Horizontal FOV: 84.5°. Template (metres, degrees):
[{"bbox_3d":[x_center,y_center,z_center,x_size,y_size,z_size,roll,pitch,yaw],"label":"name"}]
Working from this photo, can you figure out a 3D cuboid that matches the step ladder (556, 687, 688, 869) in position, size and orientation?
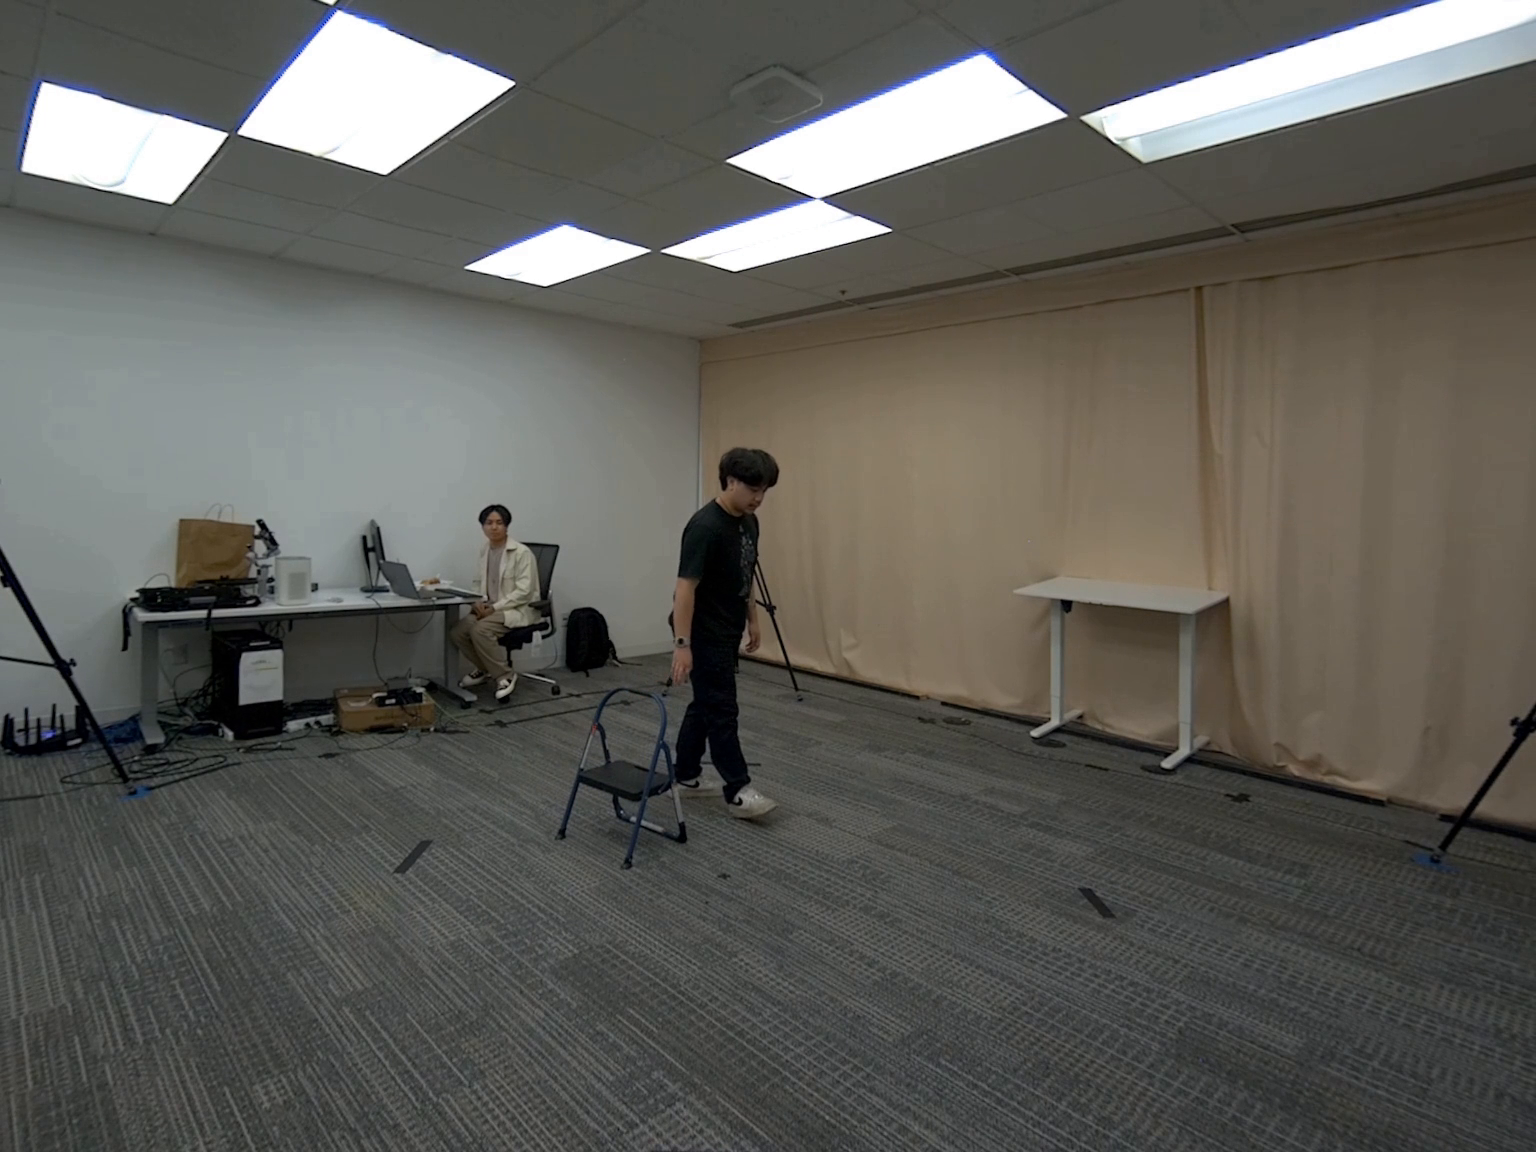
[{"bbox_3d":[-0.590,0.768,3.388,0.441,0.604,0.341,5,5,39],"label":"step ladder"}]
